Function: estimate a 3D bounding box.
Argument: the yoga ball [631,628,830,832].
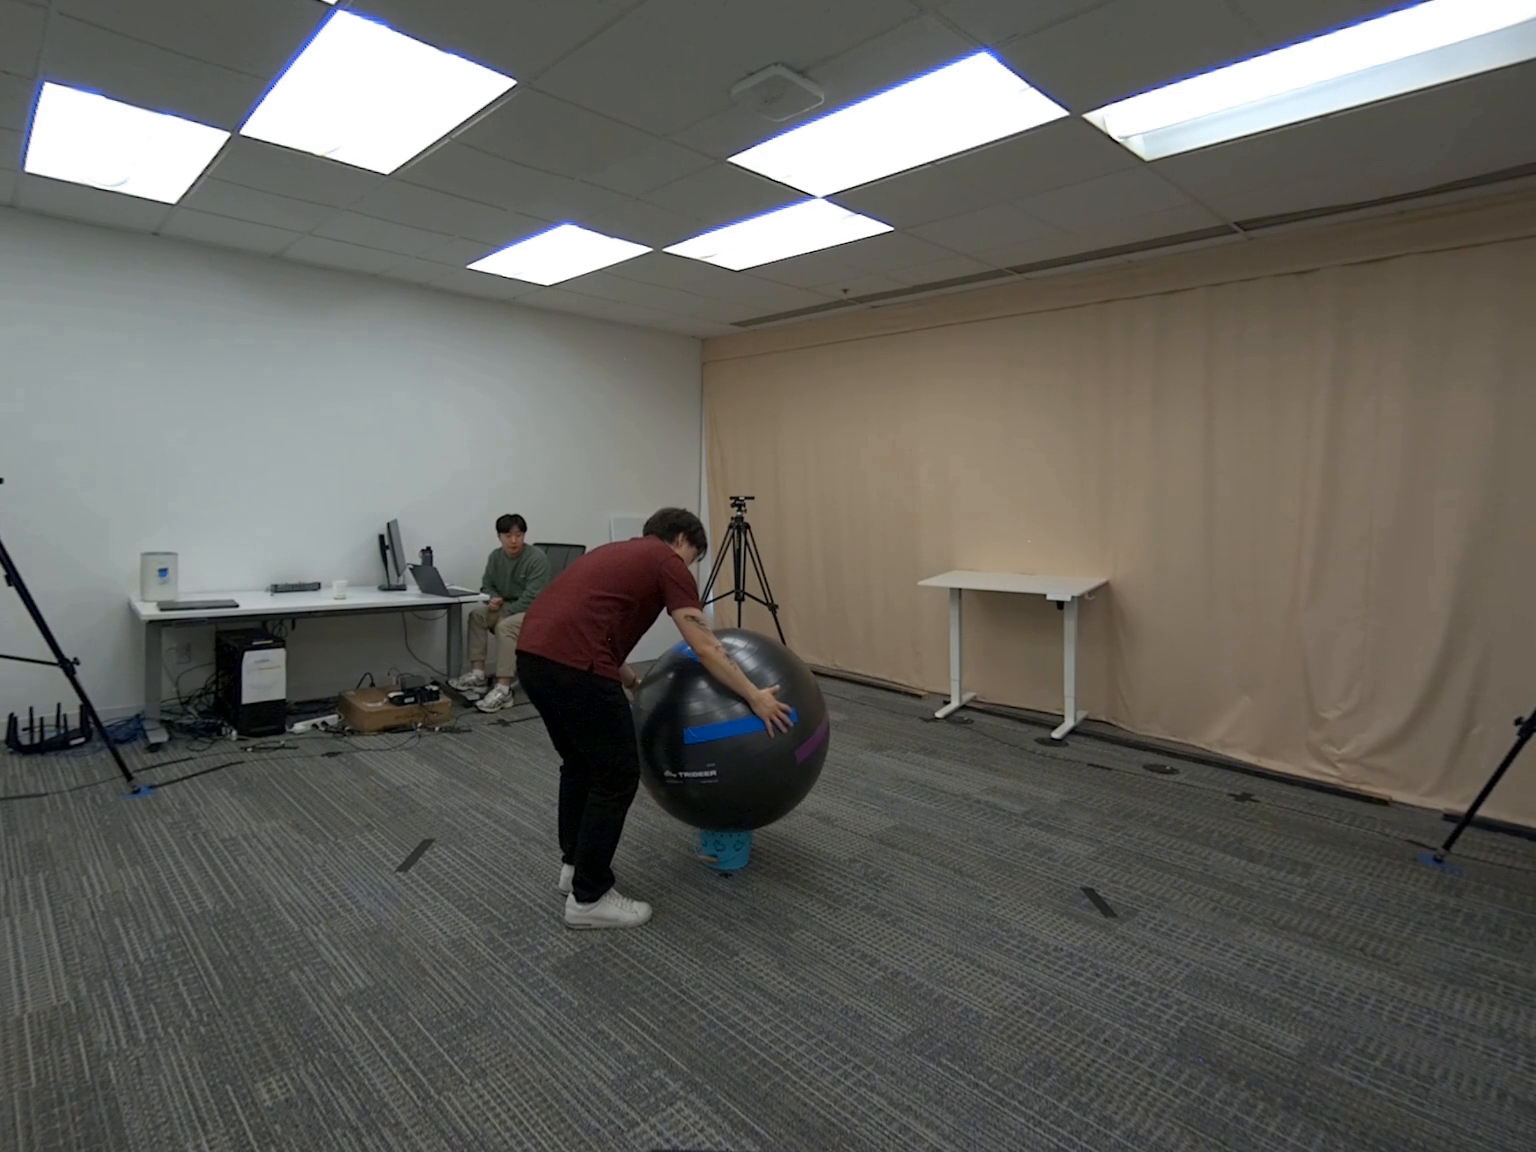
[{"bbox_3d":[-0.145,0.586,3.203,0.757,0.756,0.761,1,4,-1],"label":"yoga ball"}]
